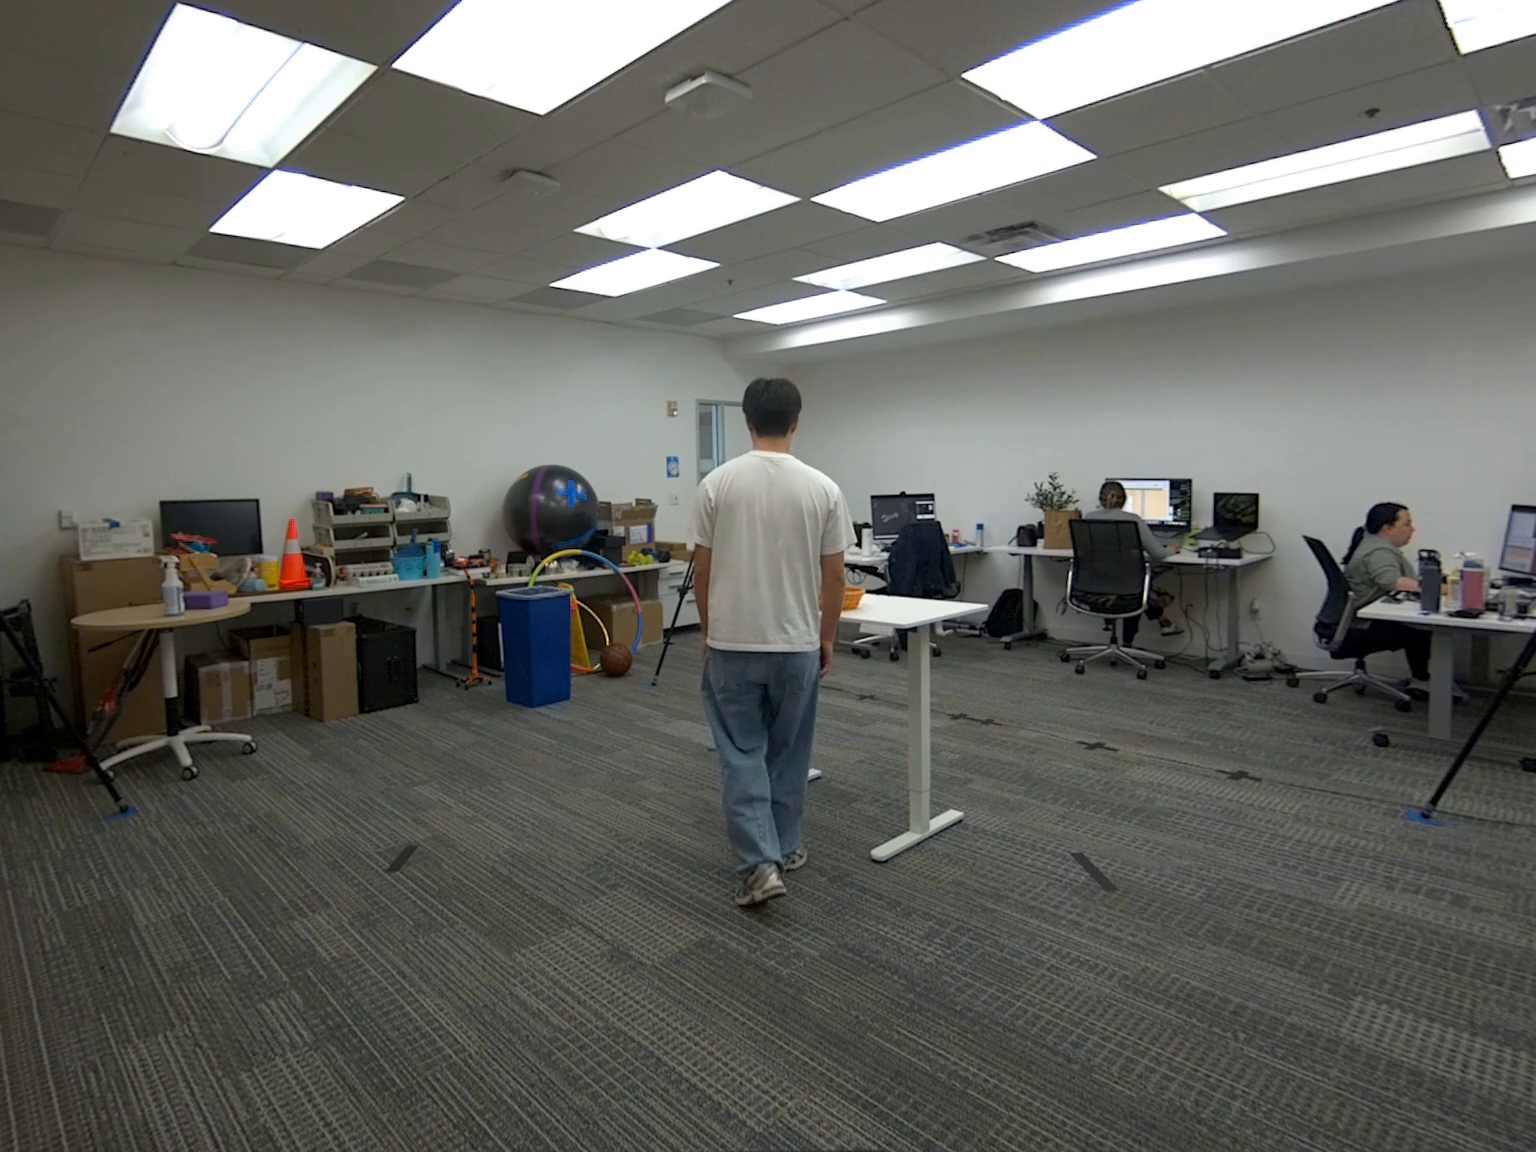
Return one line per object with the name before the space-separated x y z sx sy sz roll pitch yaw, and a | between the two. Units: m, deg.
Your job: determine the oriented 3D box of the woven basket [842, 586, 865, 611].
woven basket | 0.236 0.093 3.405 0.358 0.073 0.248 1 7 23
